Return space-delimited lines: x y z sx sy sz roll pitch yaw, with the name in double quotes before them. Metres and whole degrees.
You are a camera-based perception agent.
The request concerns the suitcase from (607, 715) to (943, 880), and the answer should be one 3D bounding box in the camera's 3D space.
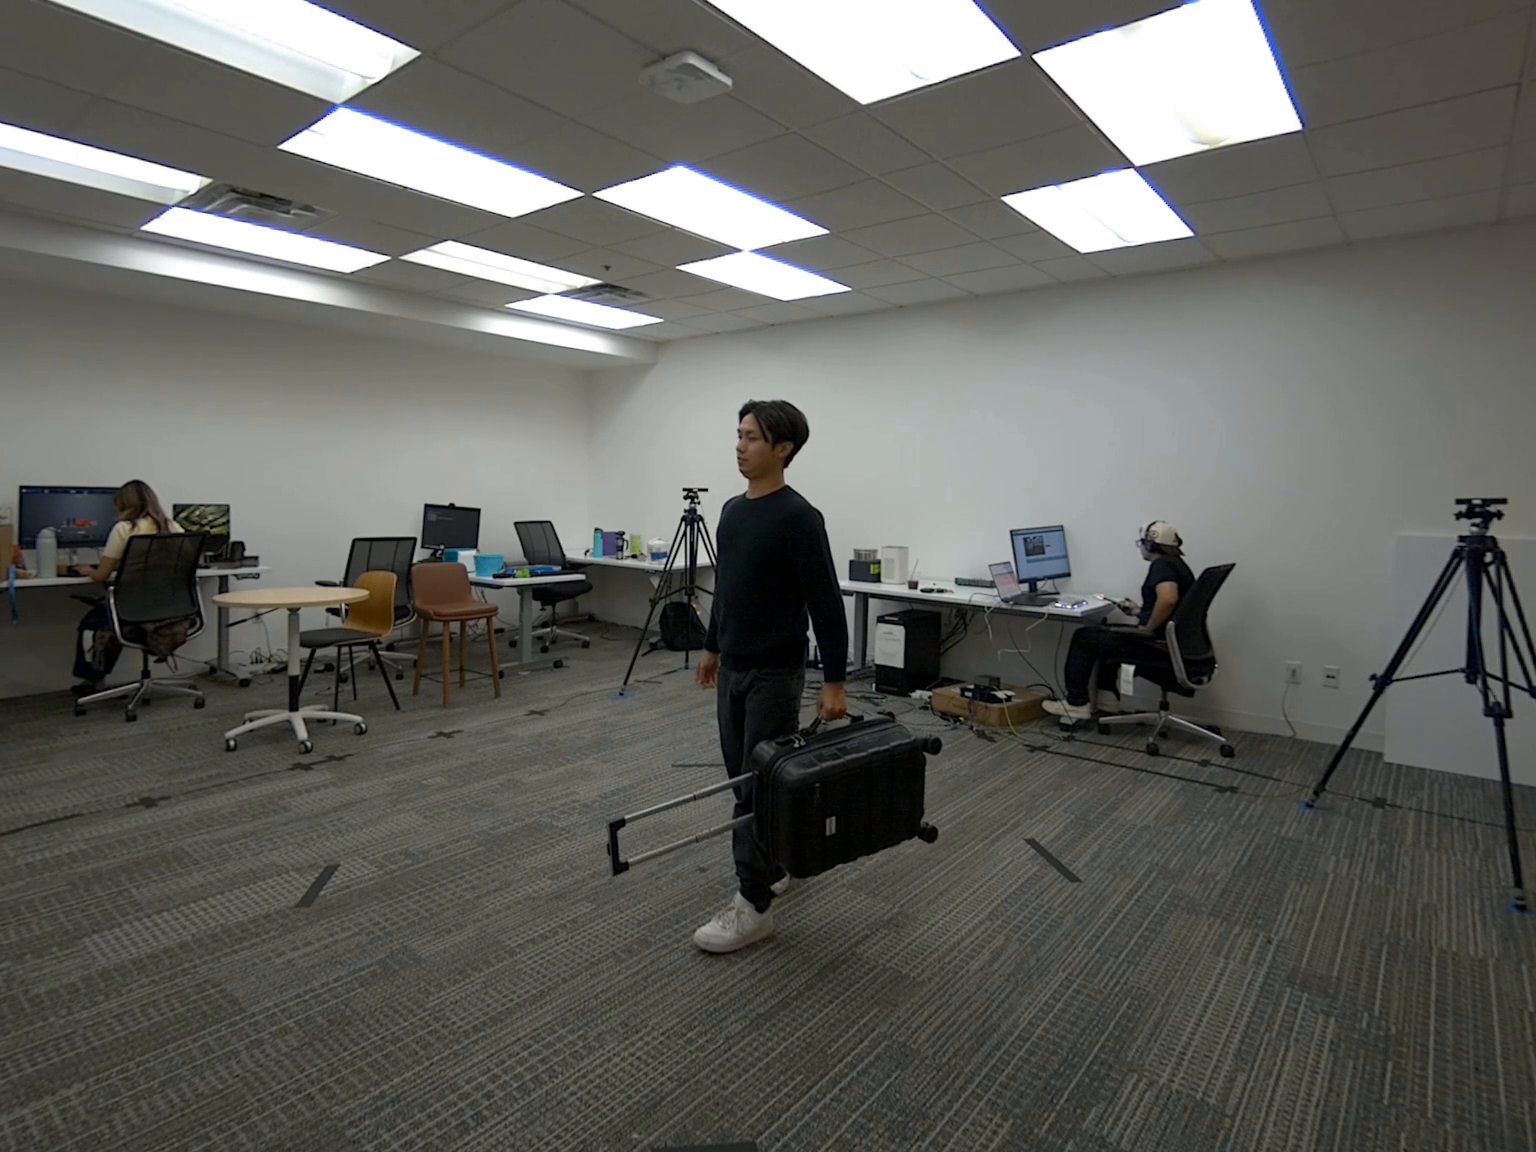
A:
"suitcase" 0.041 0.659 2.434 0.955 0.379 0.266 -9 16 -31
